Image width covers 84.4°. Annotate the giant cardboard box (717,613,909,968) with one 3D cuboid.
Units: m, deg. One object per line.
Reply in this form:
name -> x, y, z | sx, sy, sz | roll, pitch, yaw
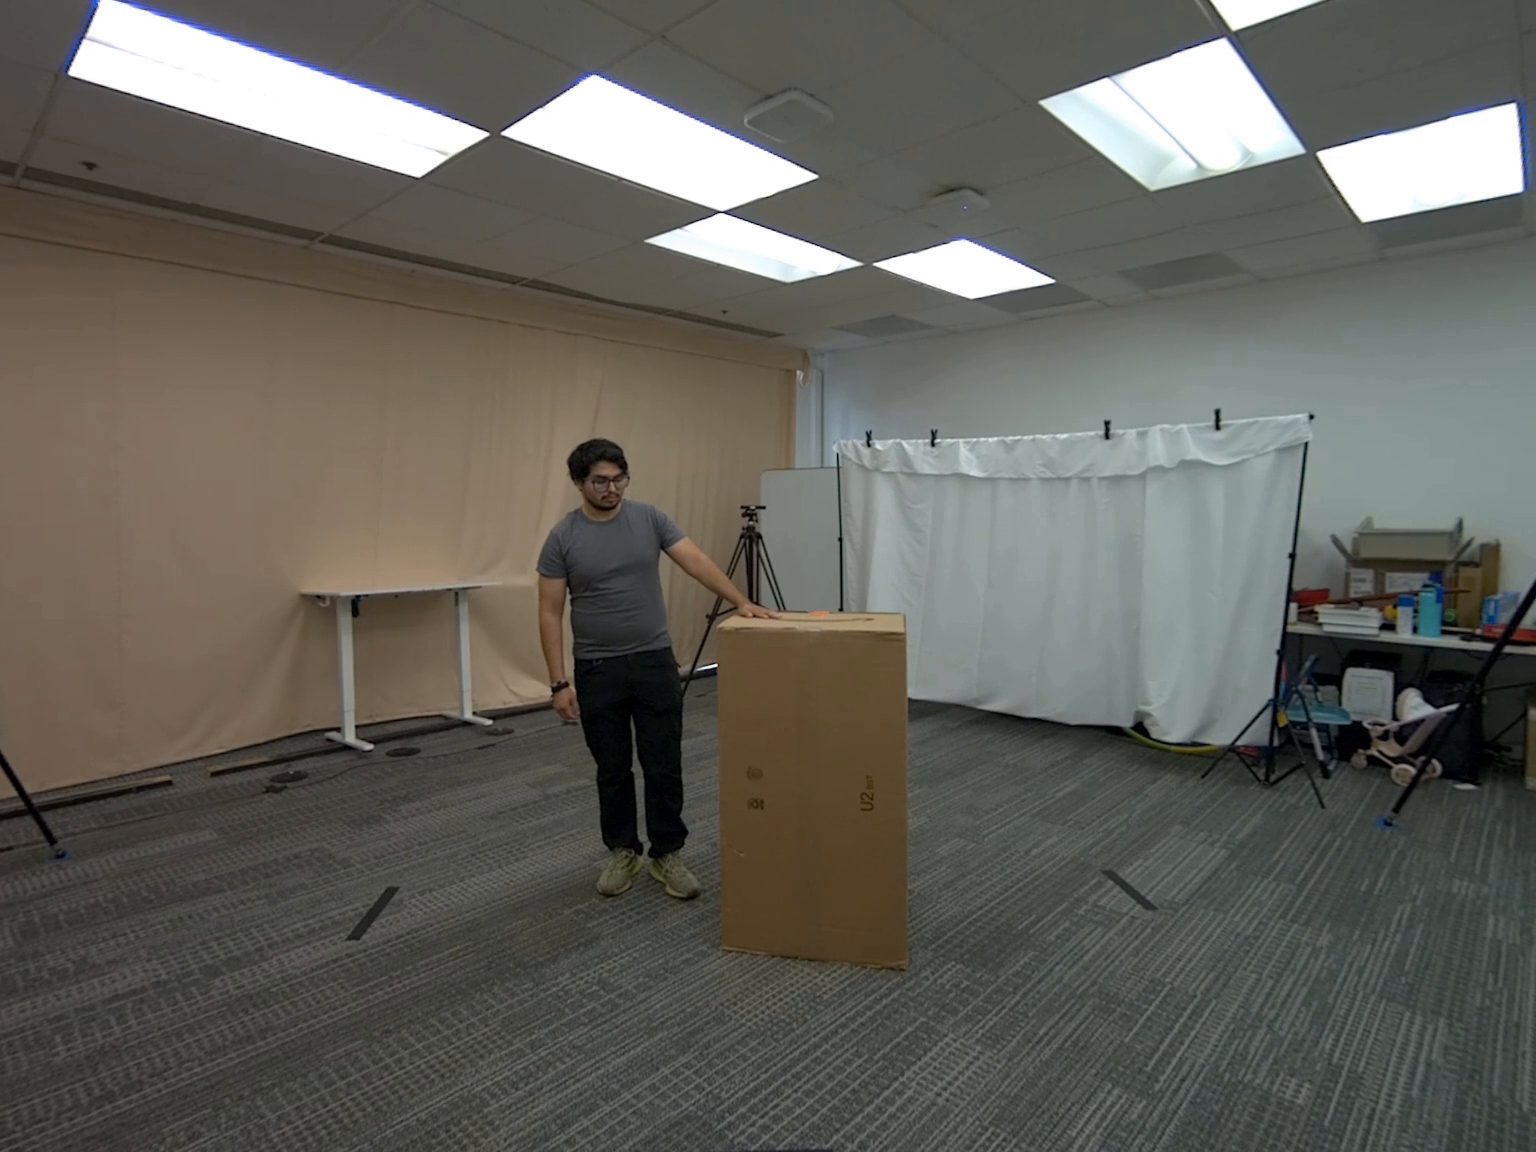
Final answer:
giant cardboard box -> 0.166, 0.651, 2.758 | 0.585, 1.024, 0.422 | 0, 3, 11
